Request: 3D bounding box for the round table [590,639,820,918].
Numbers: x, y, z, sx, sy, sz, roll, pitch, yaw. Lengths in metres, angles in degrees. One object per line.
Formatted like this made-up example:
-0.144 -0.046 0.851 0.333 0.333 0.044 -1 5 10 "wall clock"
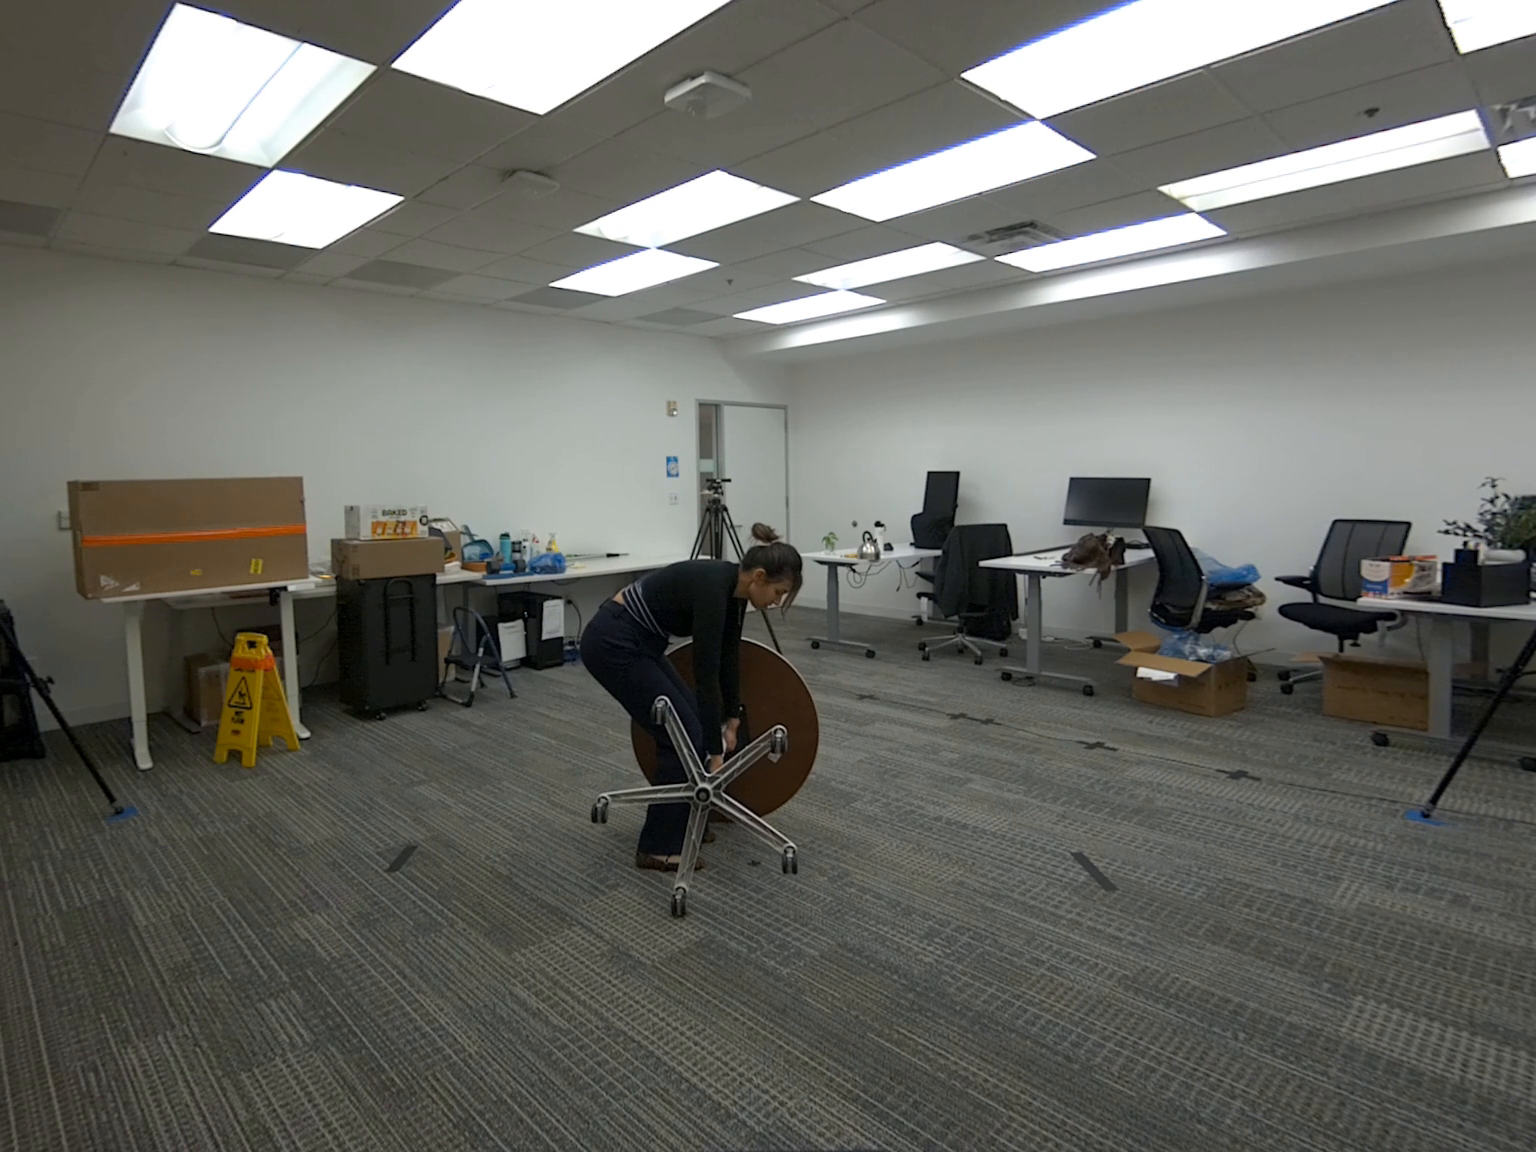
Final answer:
-0.190 0.668 3.071 0.767 0.760 0.795 -1 6 3 "round table"
